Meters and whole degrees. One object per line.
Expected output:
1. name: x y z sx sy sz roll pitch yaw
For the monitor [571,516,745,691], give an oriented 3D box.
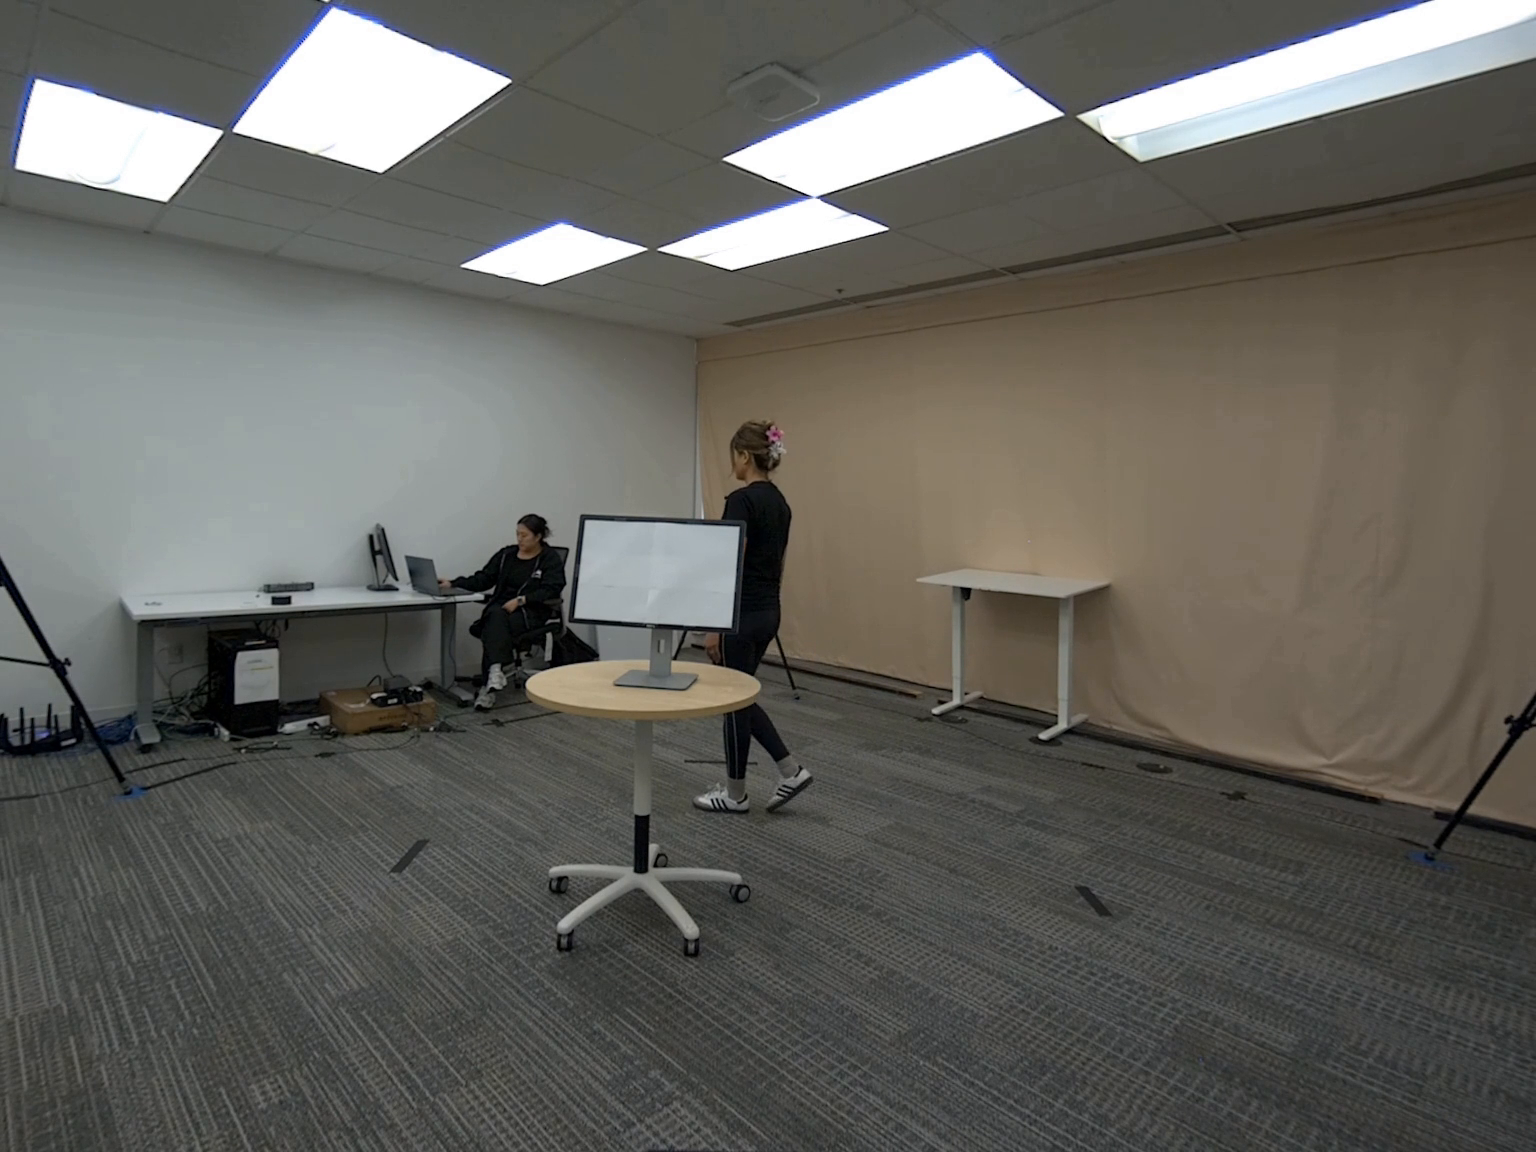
1. monitor: -0.358 0.088 2.766 0.542 0.521 0.186 3 3 7
